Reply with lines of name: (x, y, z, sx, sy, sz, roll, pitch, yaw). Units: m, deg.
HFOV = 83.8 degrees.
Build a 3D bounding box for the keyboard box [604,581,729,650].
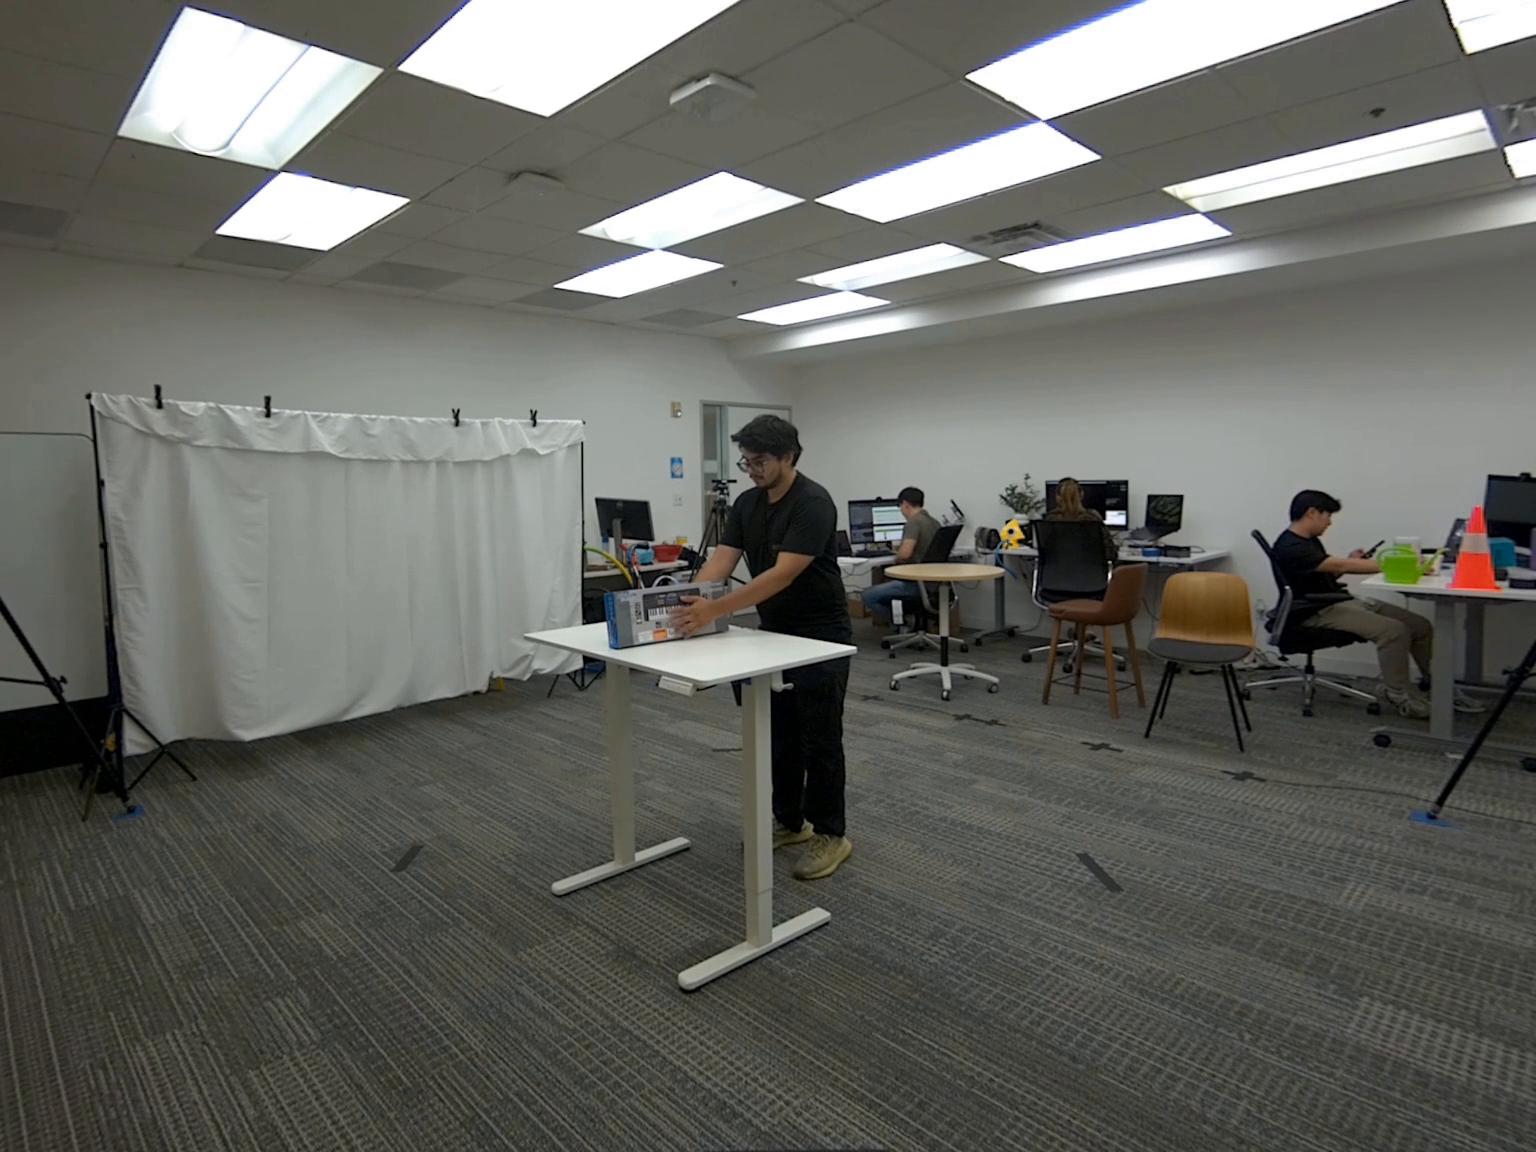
keyboard box: (-0.325, 0.122, 2.778, 0.426, 0.176, 0.060, -6, -1, -39)
